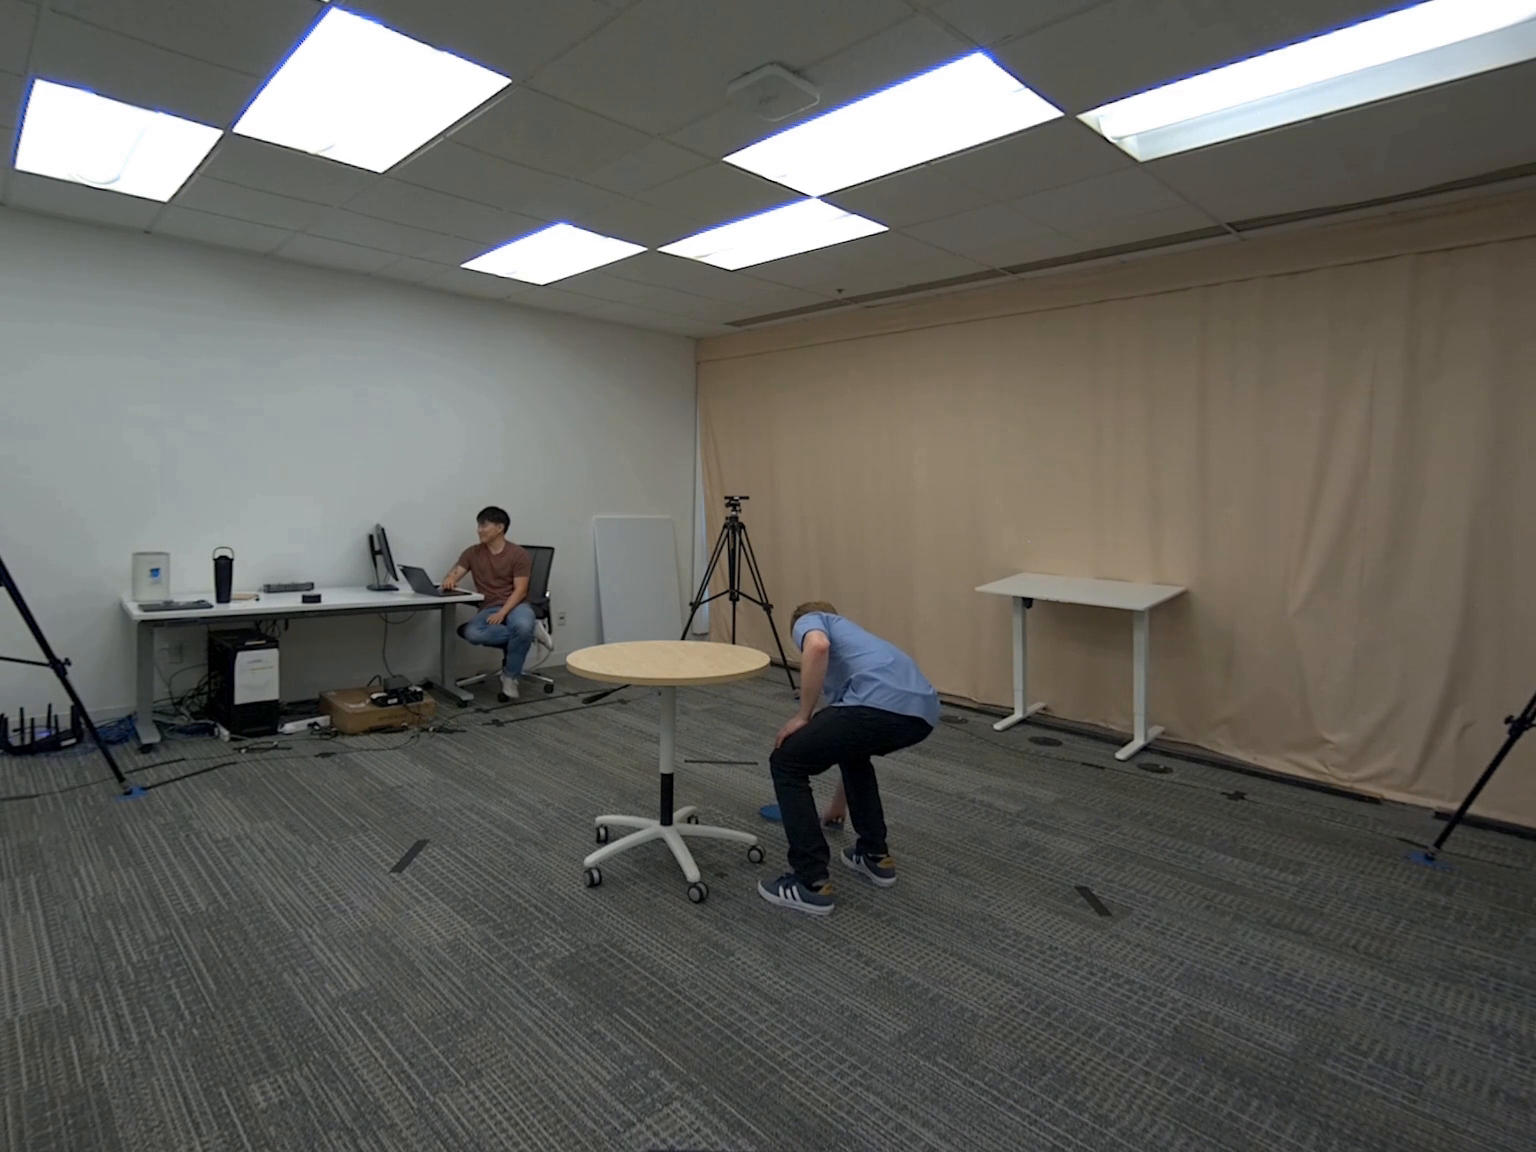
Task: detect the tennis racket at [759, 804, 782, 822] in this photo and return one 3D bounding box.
[{"bbox_3d":[0.135,1.043,3.648,0.443,0.032,0.209,1,1,43],"label":"tennis racket"}]
